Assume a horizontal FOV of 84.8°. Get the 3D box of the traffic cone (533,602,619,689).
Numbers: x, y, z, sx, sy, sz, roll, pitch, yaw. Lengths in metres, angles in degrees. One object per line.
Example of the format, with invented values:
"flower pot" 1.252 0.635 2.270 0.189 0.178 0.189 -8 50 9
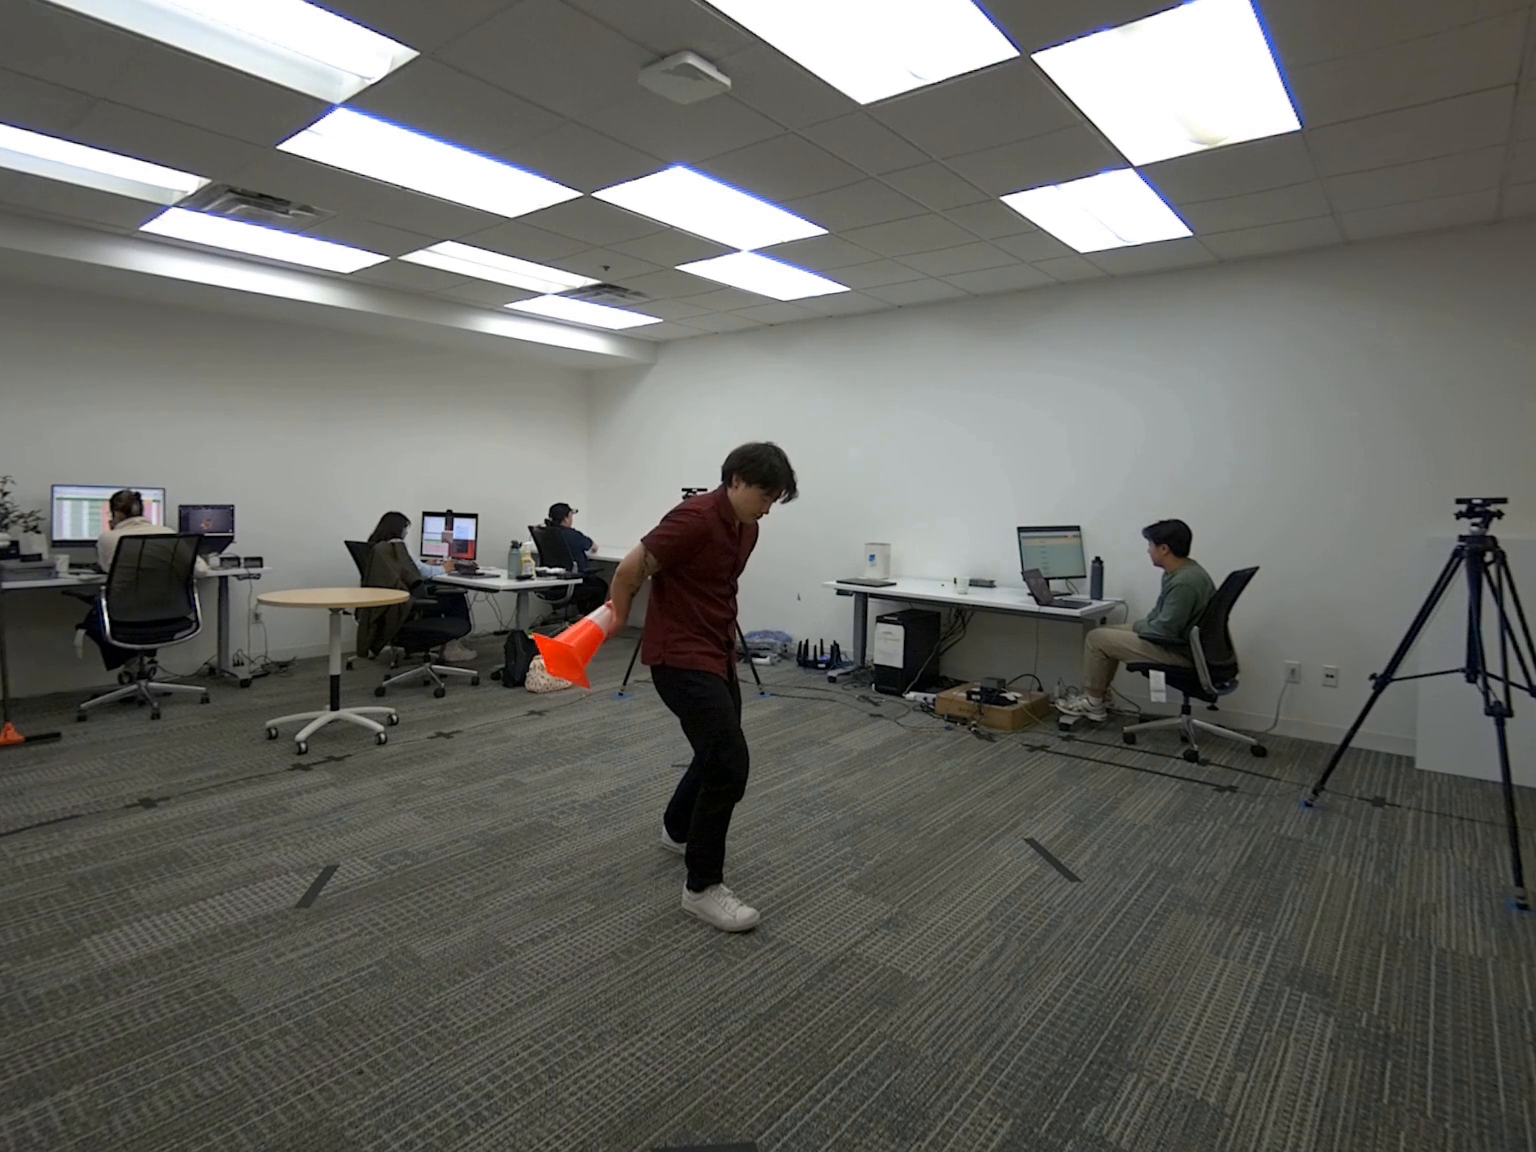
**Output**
"traffic cone" -0.603 0.173 2.979 0.212 0.197 0.384 9 41 32
